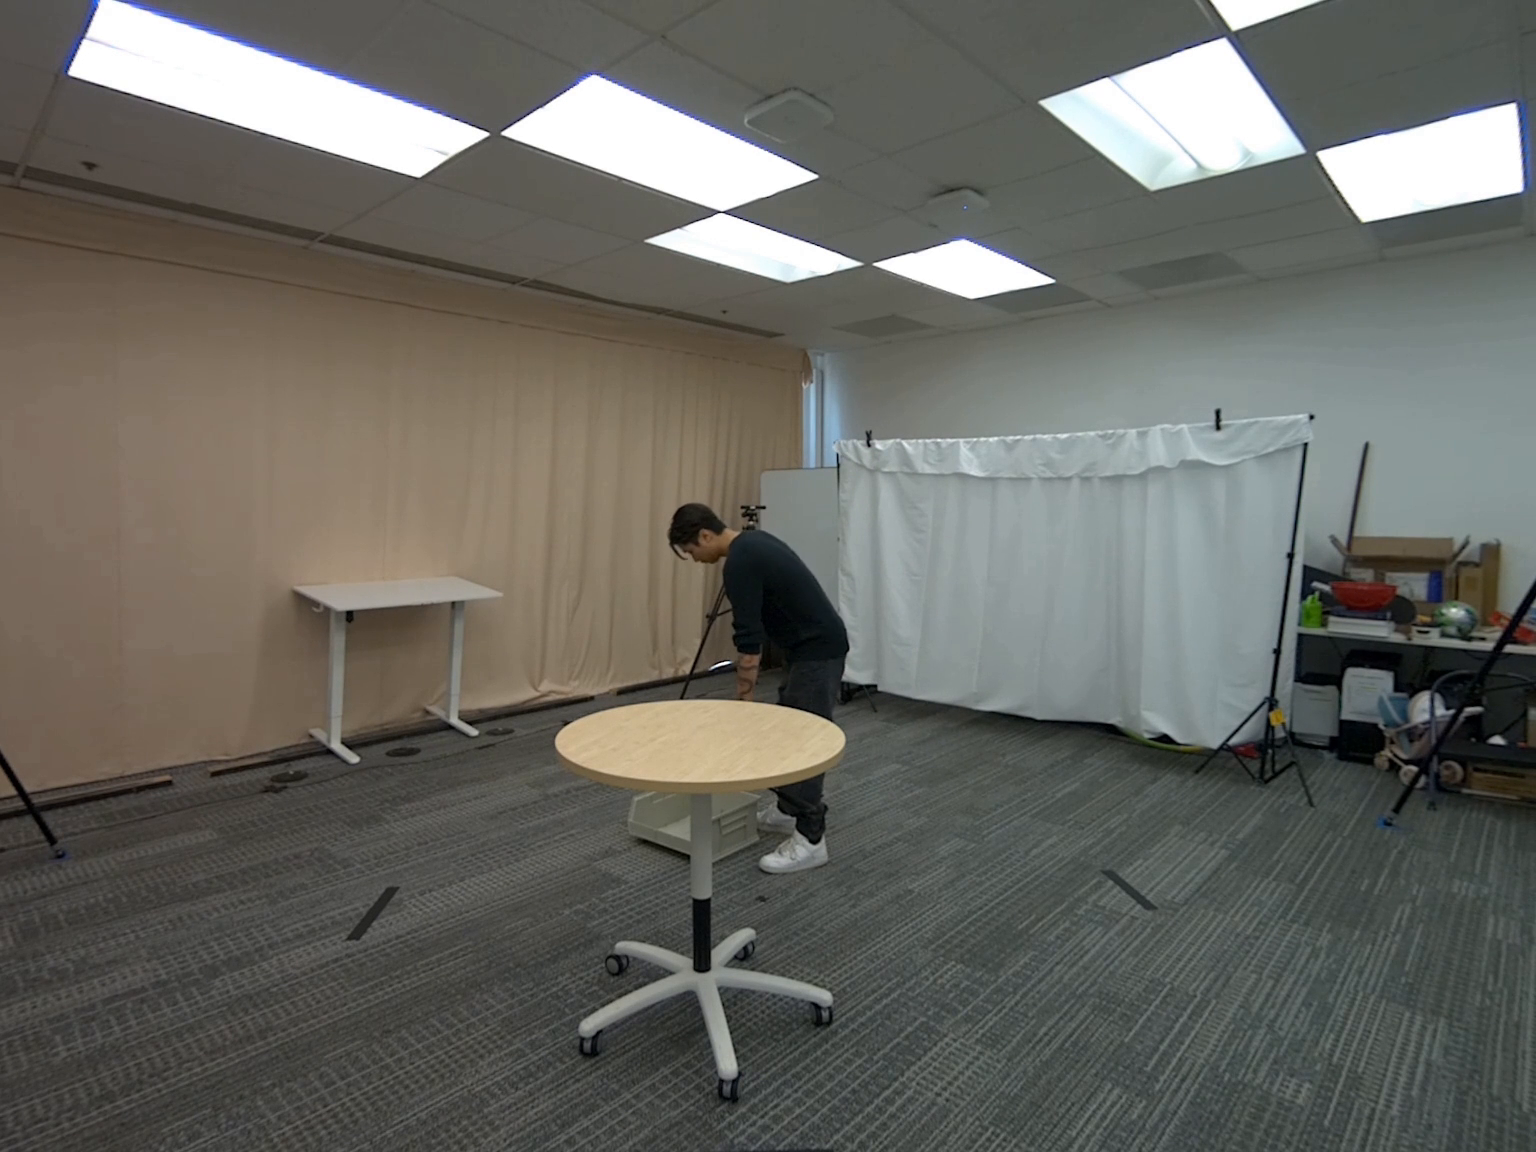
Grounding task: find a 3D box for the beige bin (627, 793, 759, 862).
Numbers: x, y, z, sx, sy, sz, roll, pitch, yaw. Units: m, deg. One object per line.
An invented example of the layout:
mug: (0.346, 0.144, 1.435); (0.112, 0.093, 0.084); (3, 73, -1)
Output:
beige bin: (-0.306, 1.016, 3.511); (0.436, 0.188, 0.366); (3, 5, 39)
